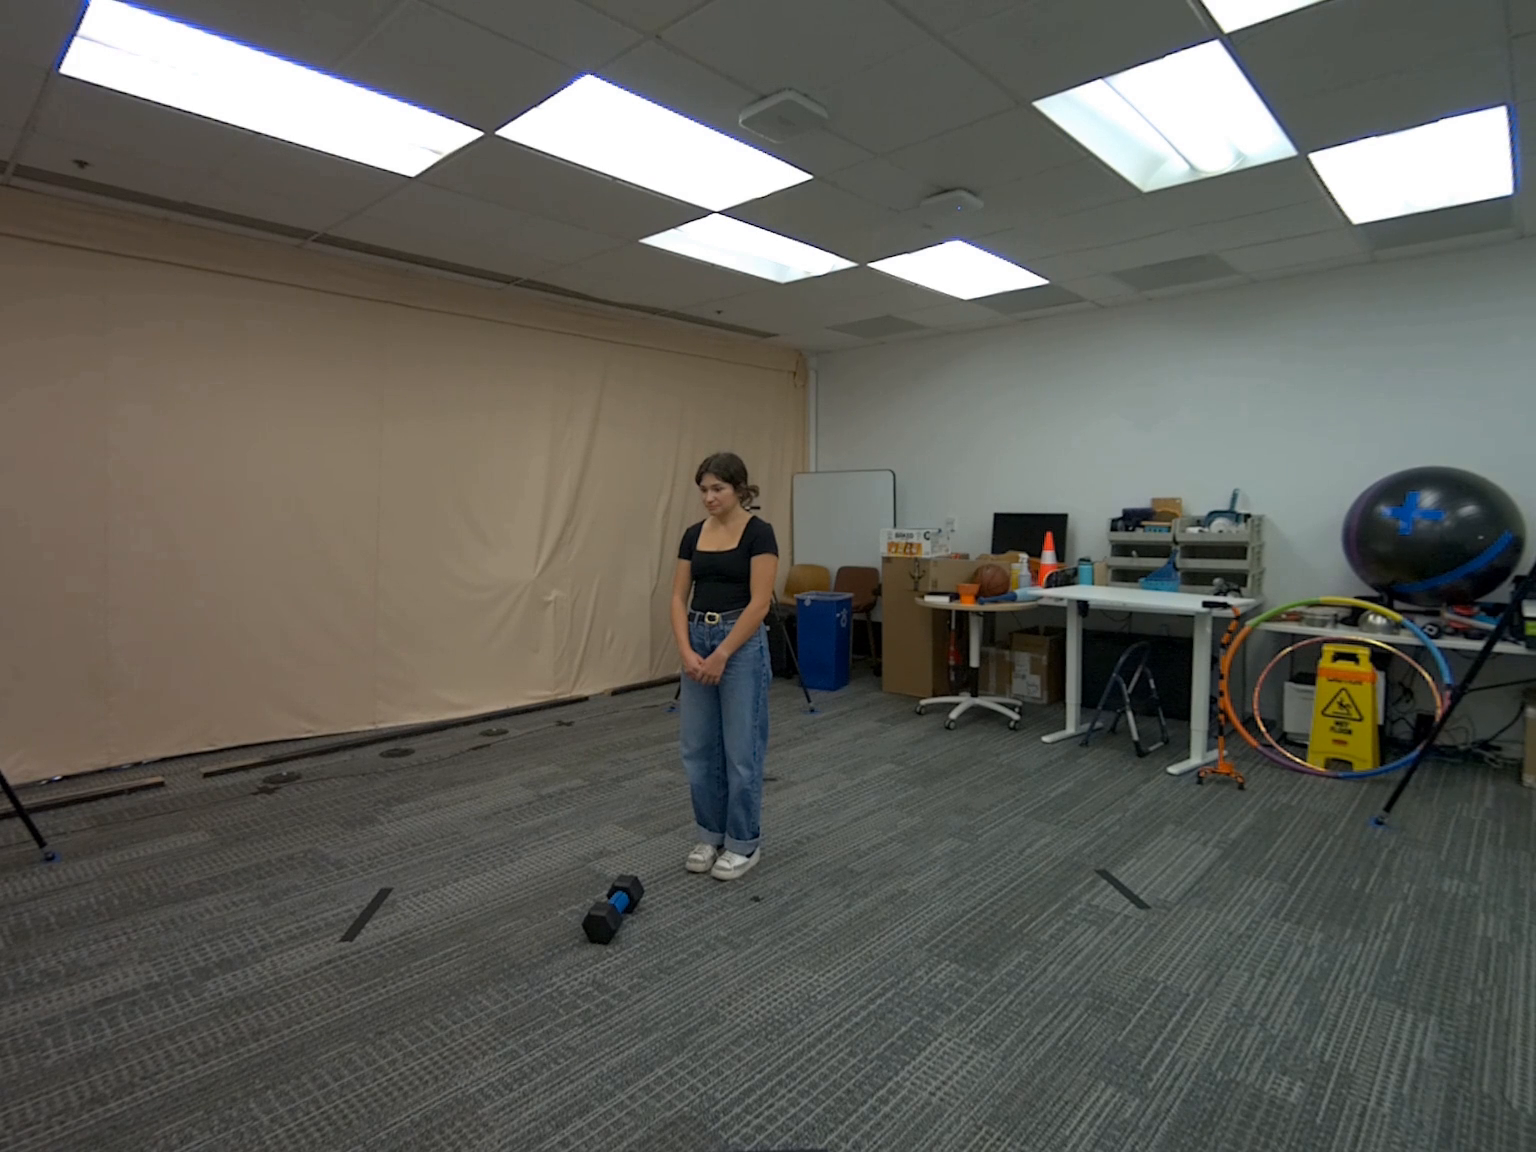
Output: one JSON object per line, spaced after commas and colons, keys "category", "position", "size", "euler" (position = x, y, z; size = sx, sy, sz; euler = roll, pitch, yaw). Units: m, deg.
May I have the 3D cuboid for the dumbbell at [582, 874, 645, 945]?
{"category": "dumbbell", "position": [-0.514, 1.108, 2.809], "size": [0.109, 0.123, 0.290], "euler": [-30, -1, 12]}
